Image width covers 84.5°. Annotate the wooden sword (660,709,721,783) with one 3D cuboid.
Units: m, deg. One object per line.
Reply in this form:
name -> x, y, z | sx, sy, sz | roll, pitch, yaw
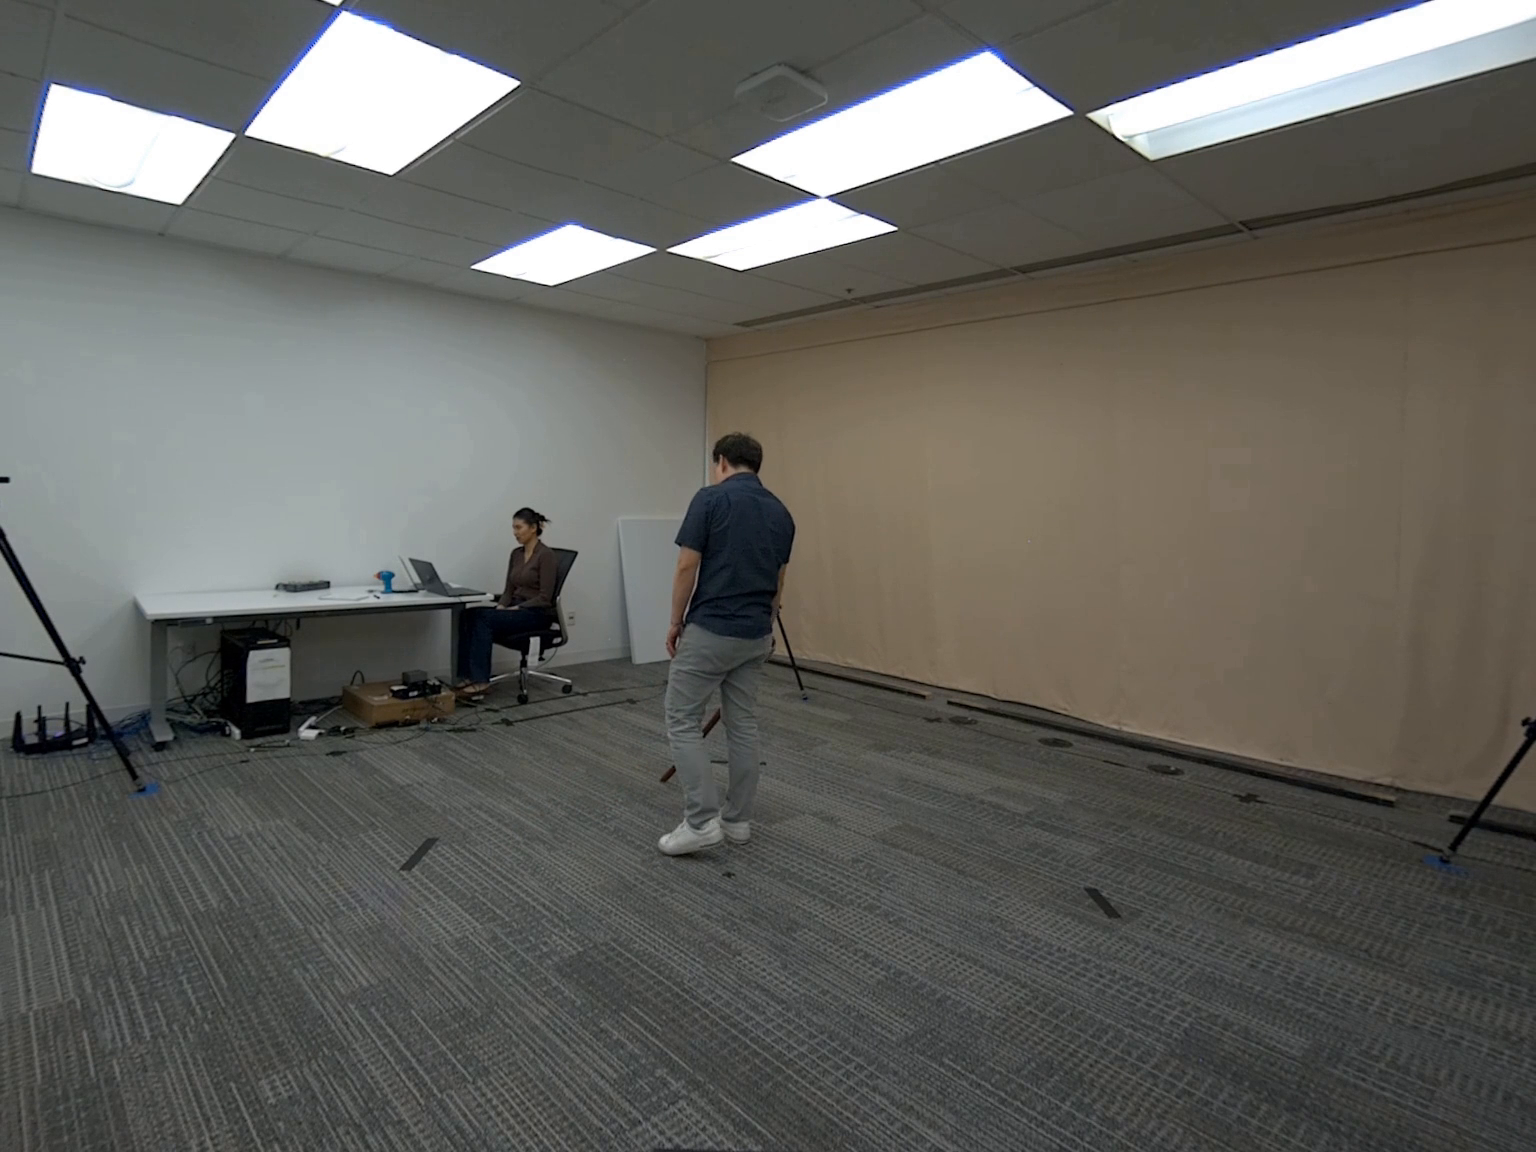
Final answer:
wooden sword -> -0.261, 0.663, 3.875 | 0.050, 1.022, 0.025 | -4, 50, -51
